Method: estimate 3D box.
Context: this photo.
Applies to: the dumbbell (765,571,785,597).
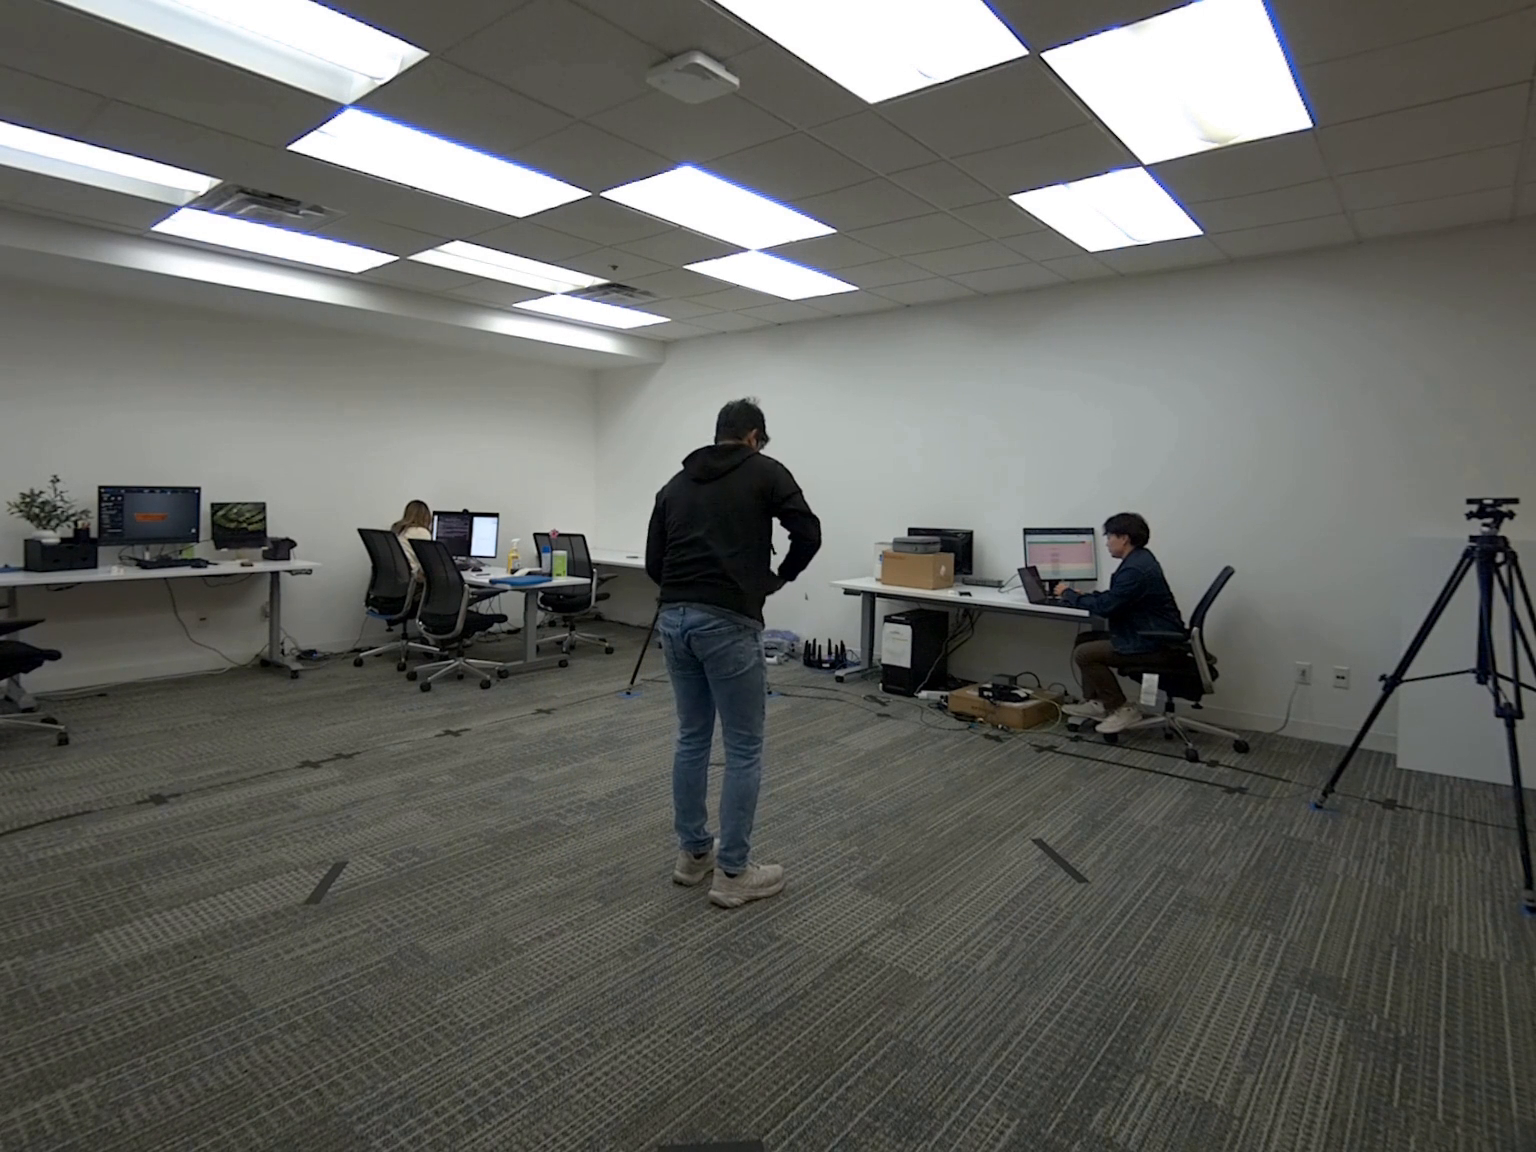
[{"bbox_3d":[-0.048,0.043,3.114,0.122,0.108,0.296,-16,3,-12],"label":"dumbbell"}]
